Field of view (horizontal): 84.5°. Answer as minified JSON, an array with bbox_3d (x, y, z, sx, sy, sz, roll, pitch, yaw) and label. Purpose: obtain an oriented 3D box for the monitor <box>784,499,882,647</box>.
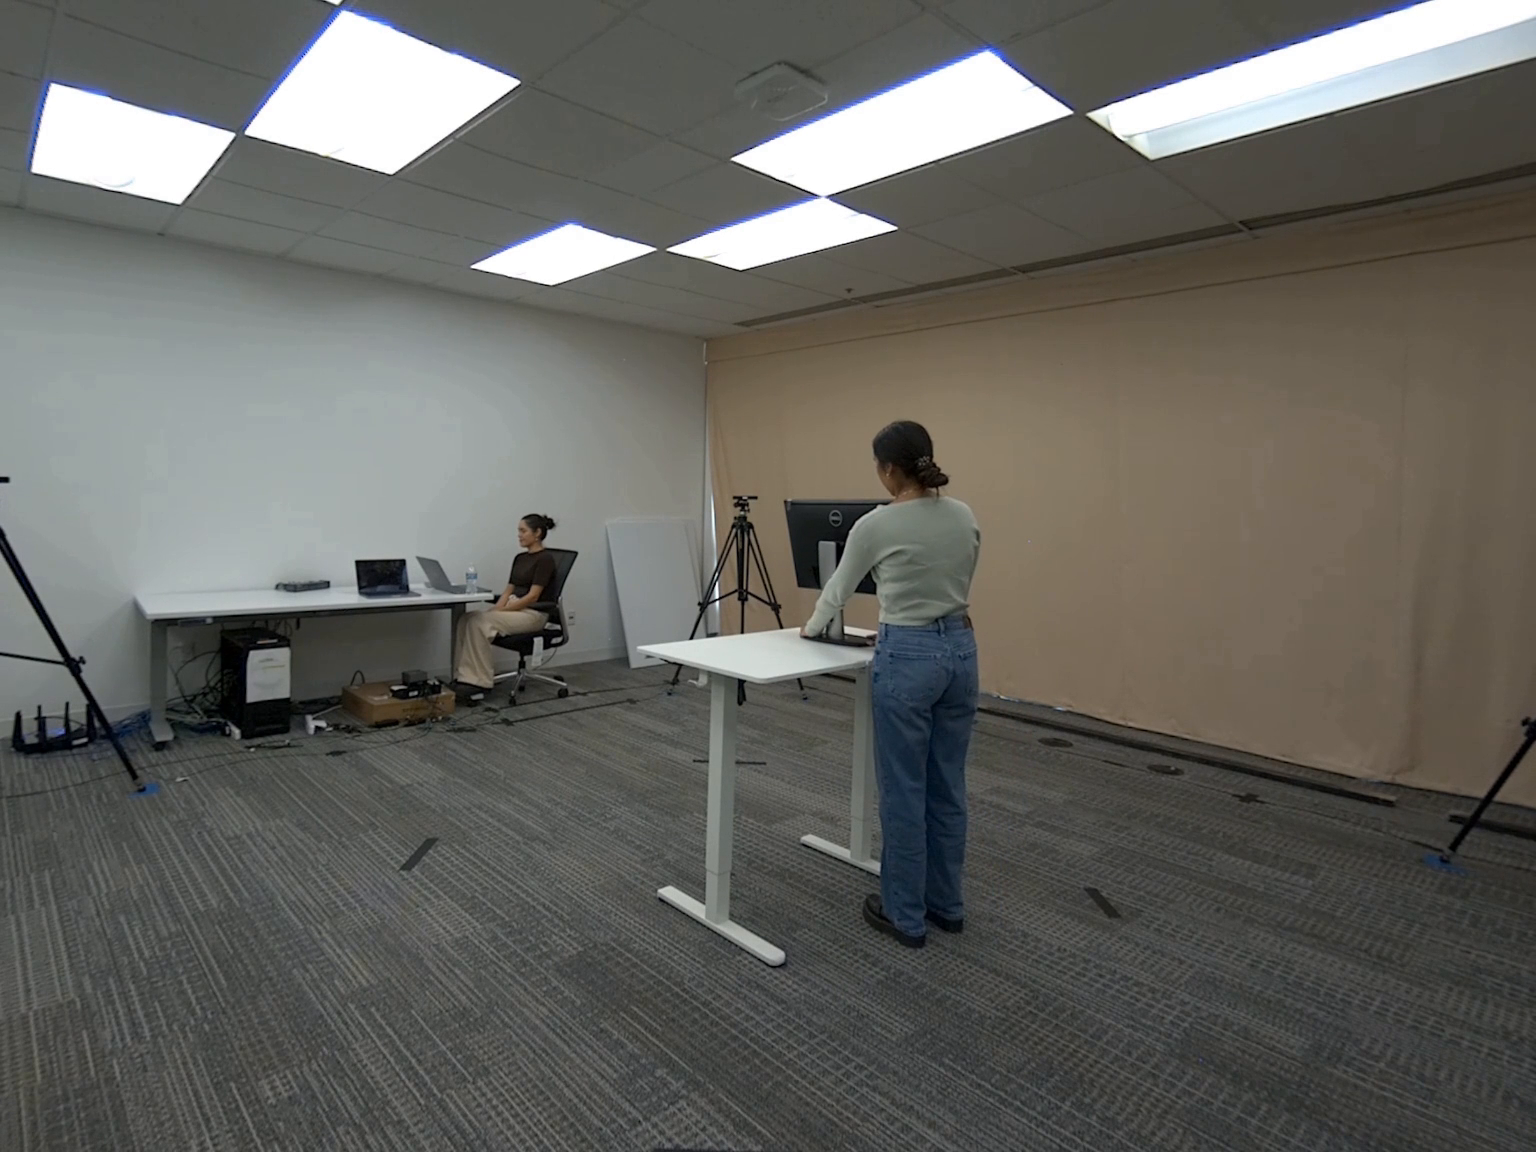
[{"bbox_3d":[0.260,-0.021,3.047,0.170,0.516,0.543,3,1,-45],"label":"monitor"}]
